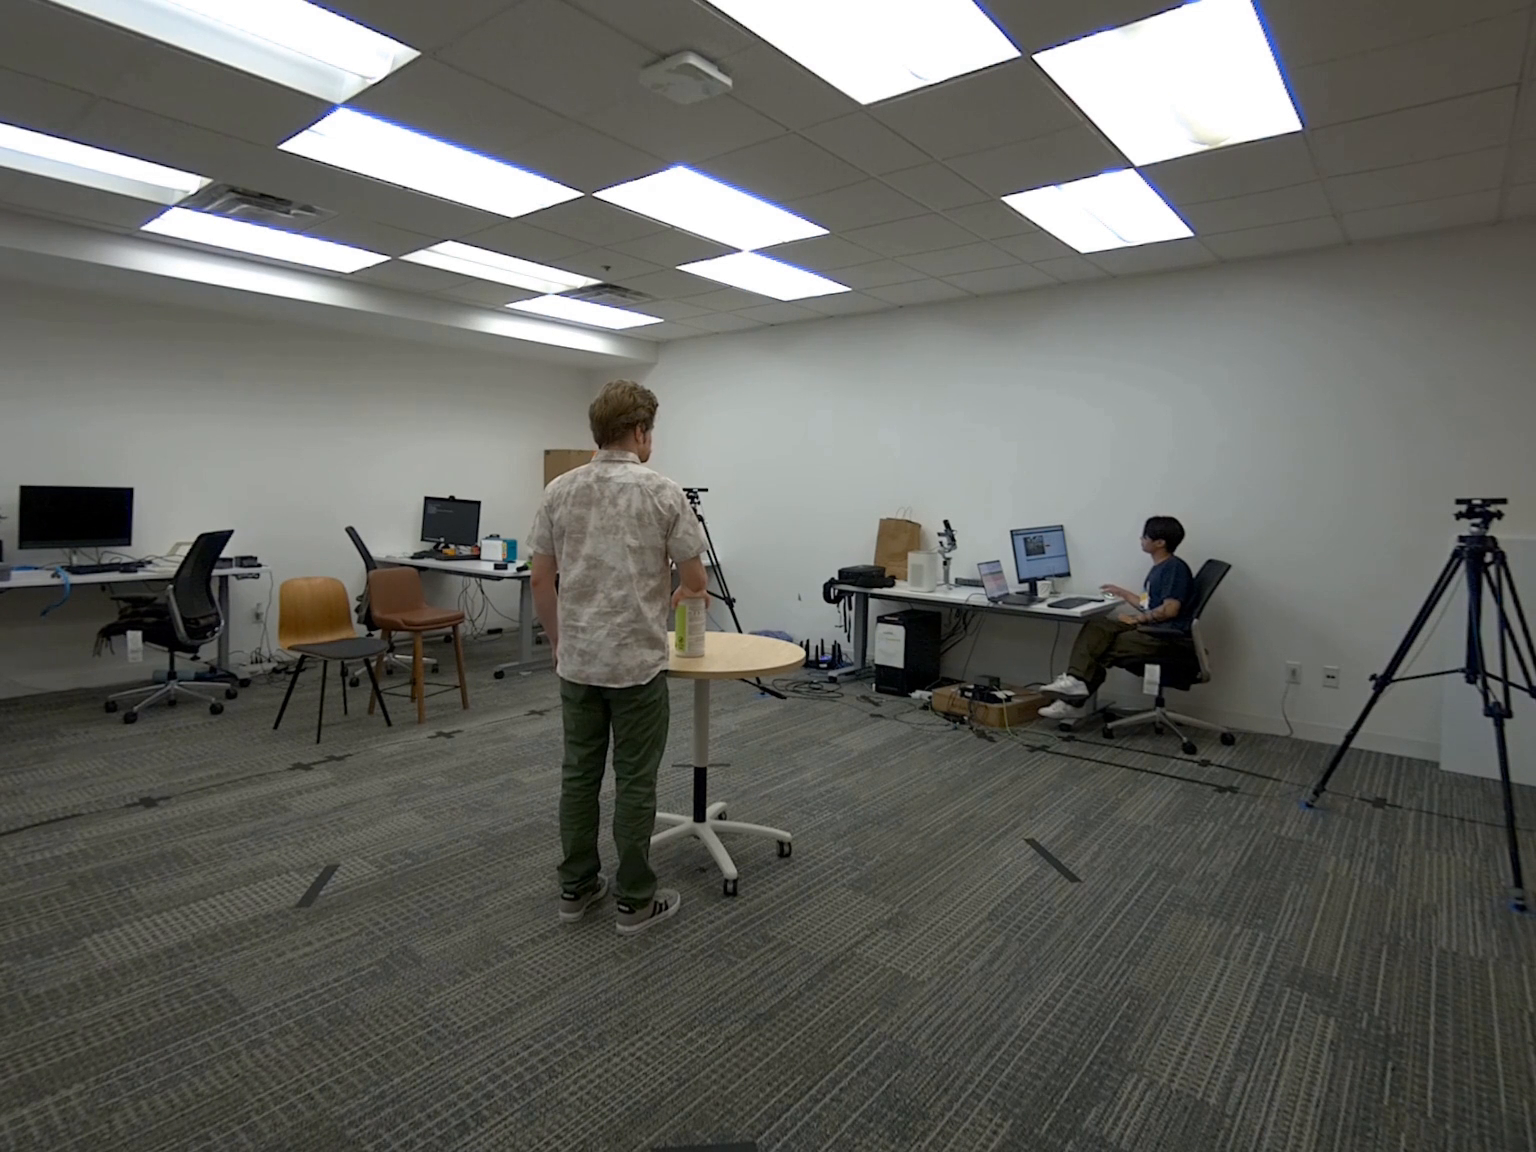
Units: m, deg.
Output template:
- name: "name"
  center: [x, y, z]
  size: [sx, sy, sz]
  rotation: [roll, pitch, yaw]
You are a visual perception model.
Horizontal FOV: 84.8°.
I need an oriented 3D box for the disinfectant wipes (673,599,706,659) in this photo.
- name: "disinfectant wipes"
  center: [-0.284, 0.176, 3.054]
  size: [0.118, 0.217, 0.118]
  rotation: [-1, 2, -2]
